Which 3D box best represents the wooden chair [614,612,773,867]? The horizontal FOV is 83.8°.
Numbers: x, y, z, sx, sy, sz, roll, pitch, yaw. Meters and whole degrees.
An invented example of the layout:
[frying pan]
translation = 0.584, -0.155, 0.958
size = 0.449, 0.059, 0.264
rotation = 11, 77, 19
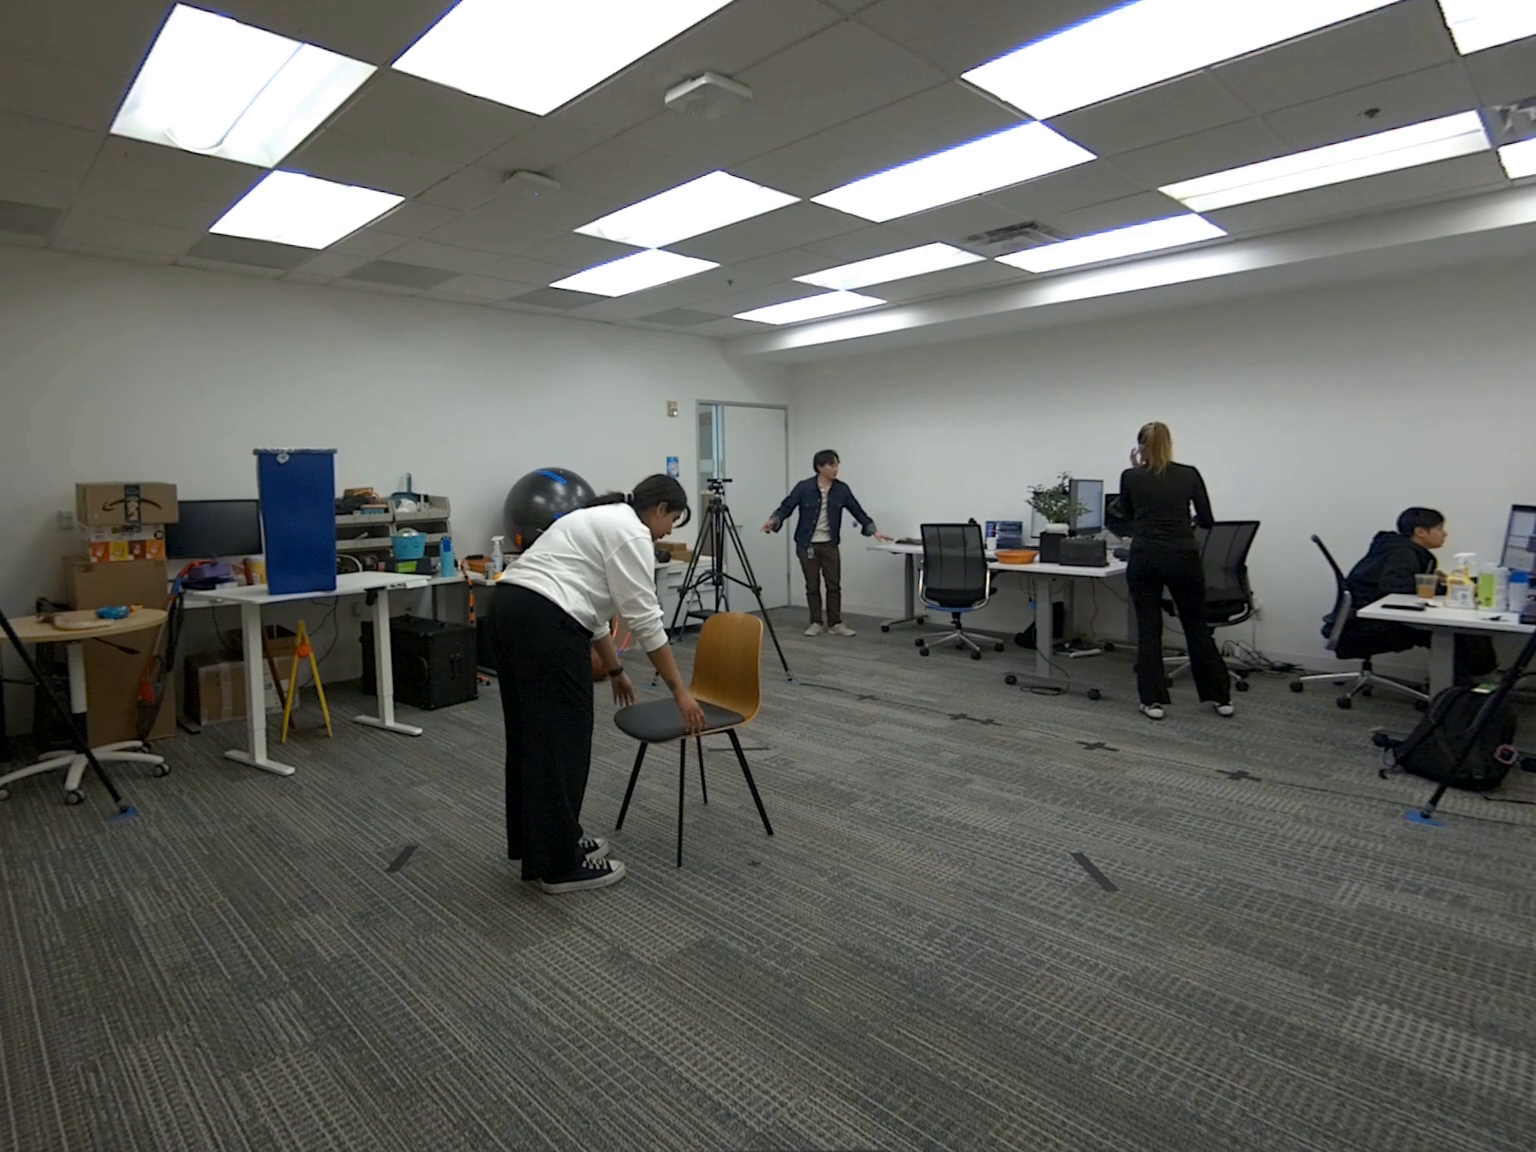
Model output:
[wooden chair]
translation = -0.302, 0.590, 3.360
size = 0.508, 0.877, 0.492
rotation = 2, 2, -39
